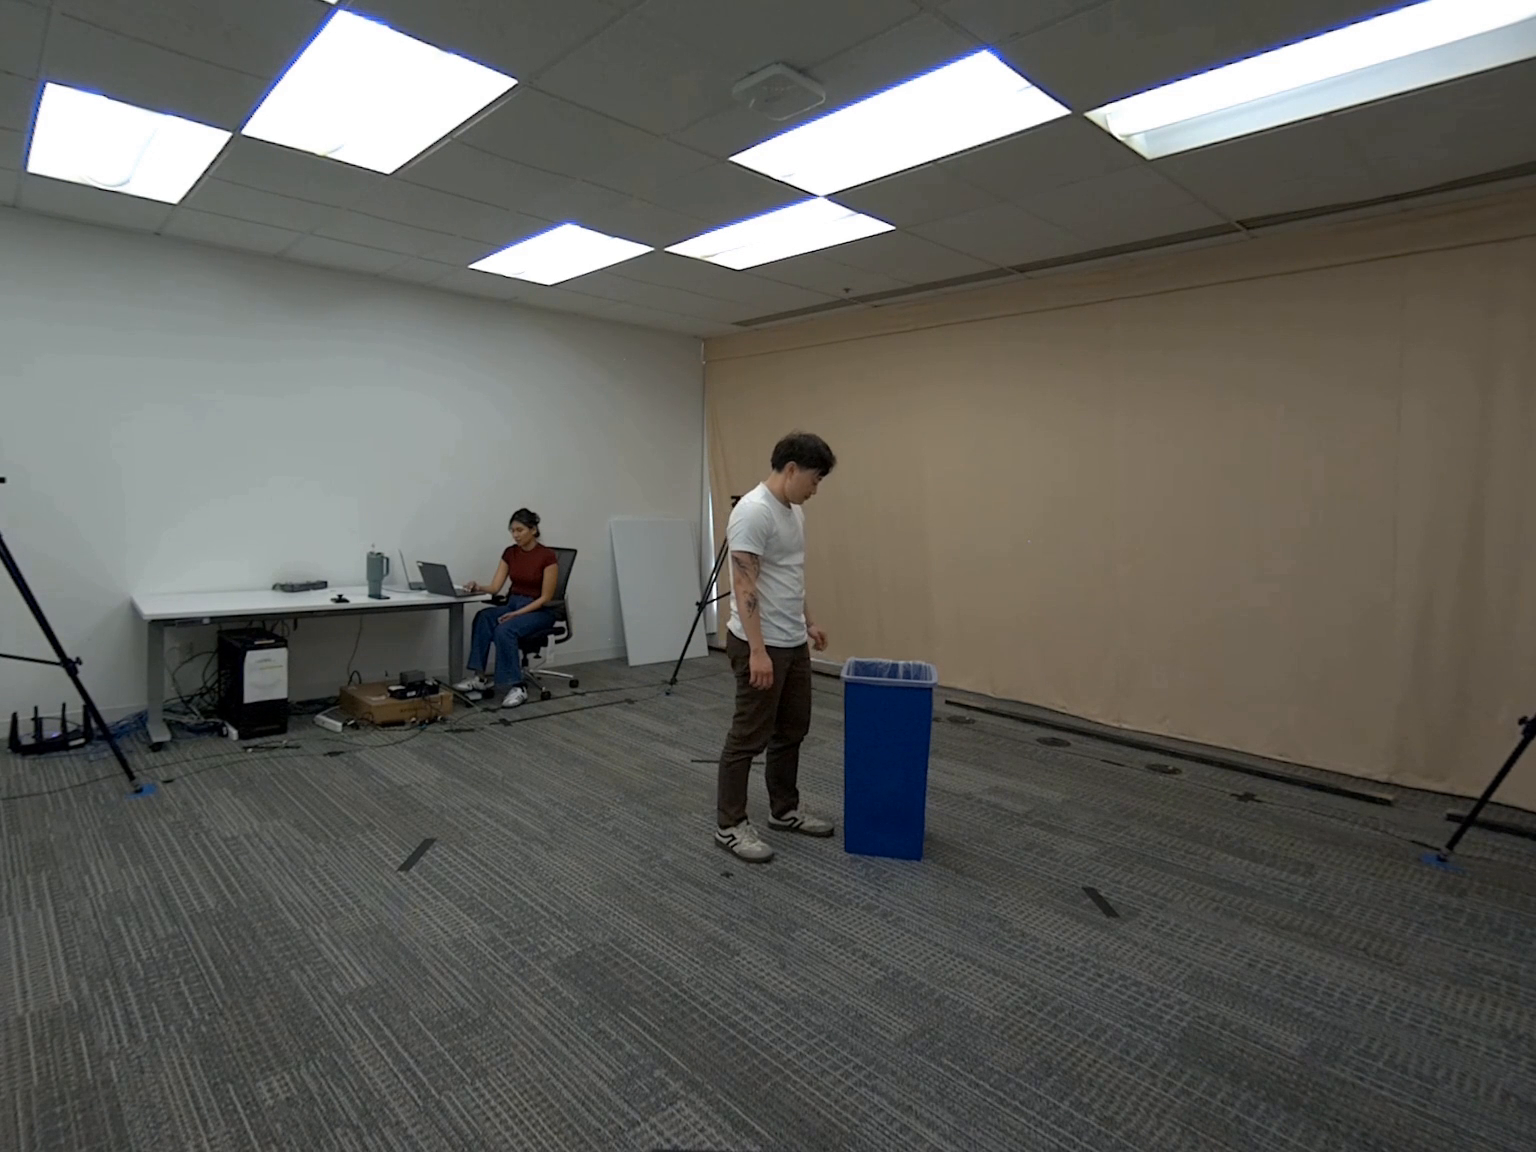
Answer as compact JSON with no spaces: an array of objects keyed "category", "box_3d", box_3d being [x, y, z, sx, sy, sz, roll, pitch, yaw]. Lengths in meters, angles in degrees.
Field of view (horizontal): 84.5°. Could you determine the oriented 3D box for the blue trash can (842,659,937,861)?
[{"category":"blue trash can","box_3d":[0.463,0.730,3.427,0.377,0.712,0.376,3,4,9]}]
